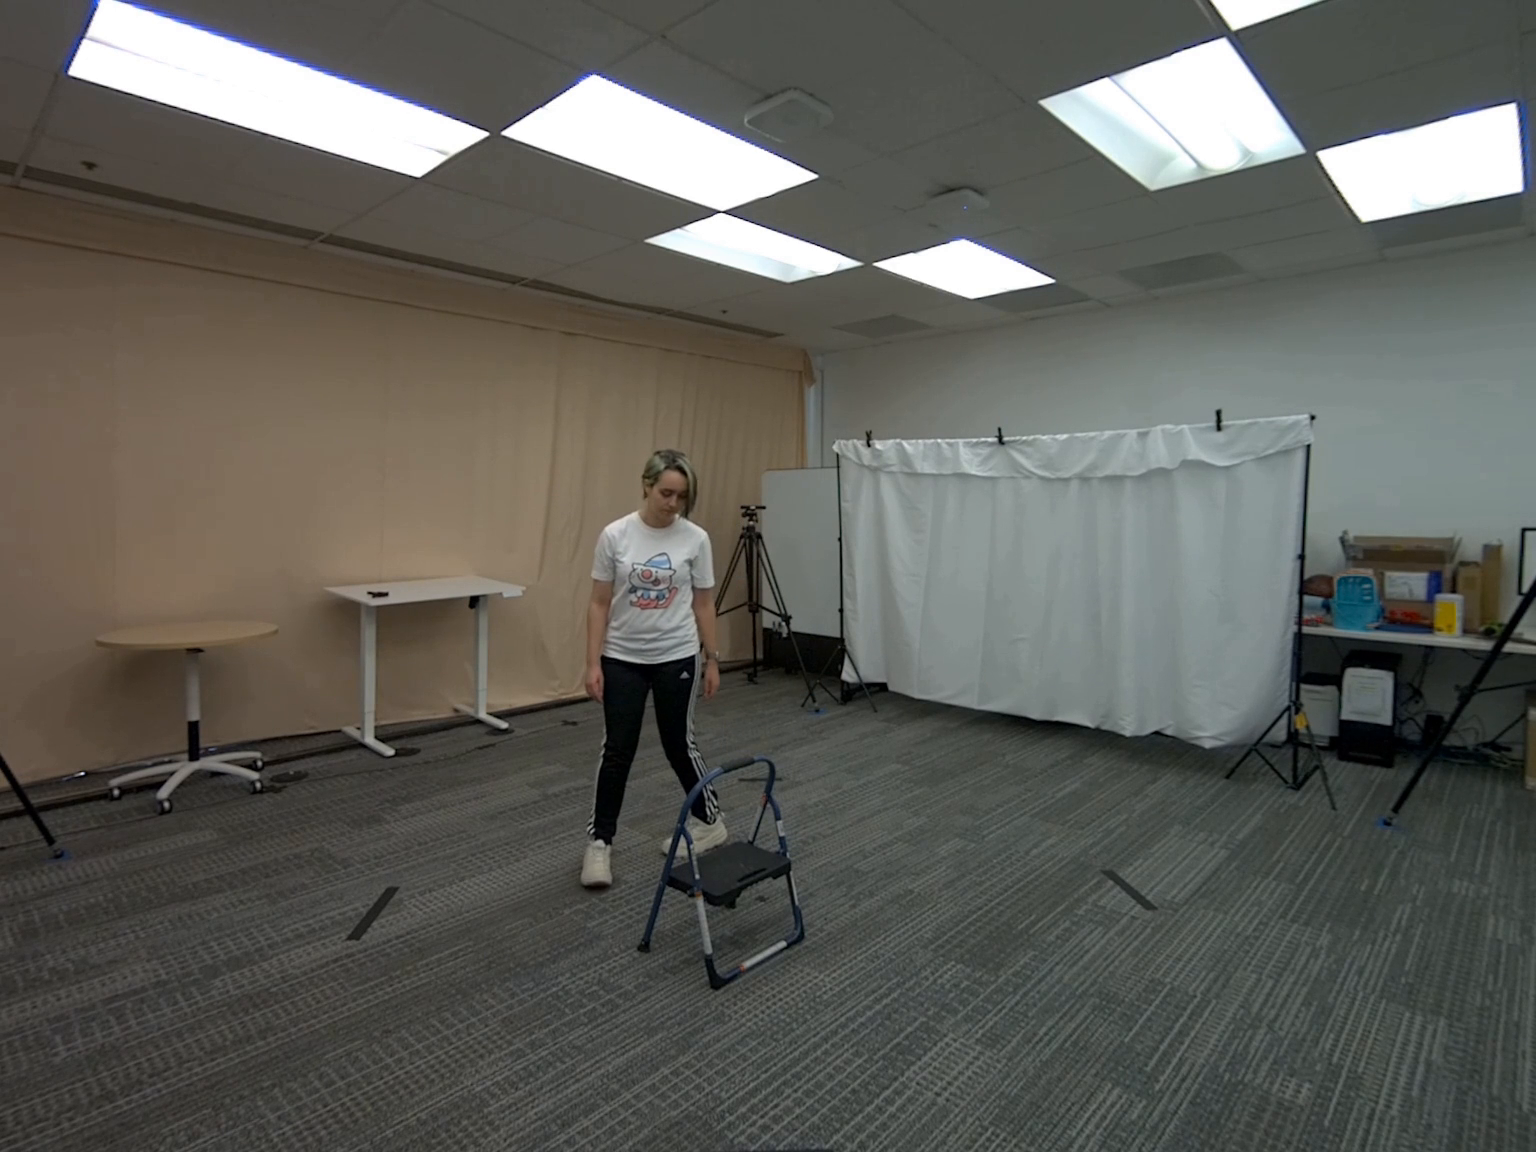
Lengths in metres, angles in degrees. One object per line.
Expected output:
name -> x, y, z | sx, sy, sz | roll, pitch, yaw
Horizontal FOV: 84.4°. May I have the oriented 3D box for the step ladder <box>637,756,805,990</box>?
step ladder -> -0.141, 0.868, 2.666 | 0.361, 0.605, 0.417 | 2, 4, 42
